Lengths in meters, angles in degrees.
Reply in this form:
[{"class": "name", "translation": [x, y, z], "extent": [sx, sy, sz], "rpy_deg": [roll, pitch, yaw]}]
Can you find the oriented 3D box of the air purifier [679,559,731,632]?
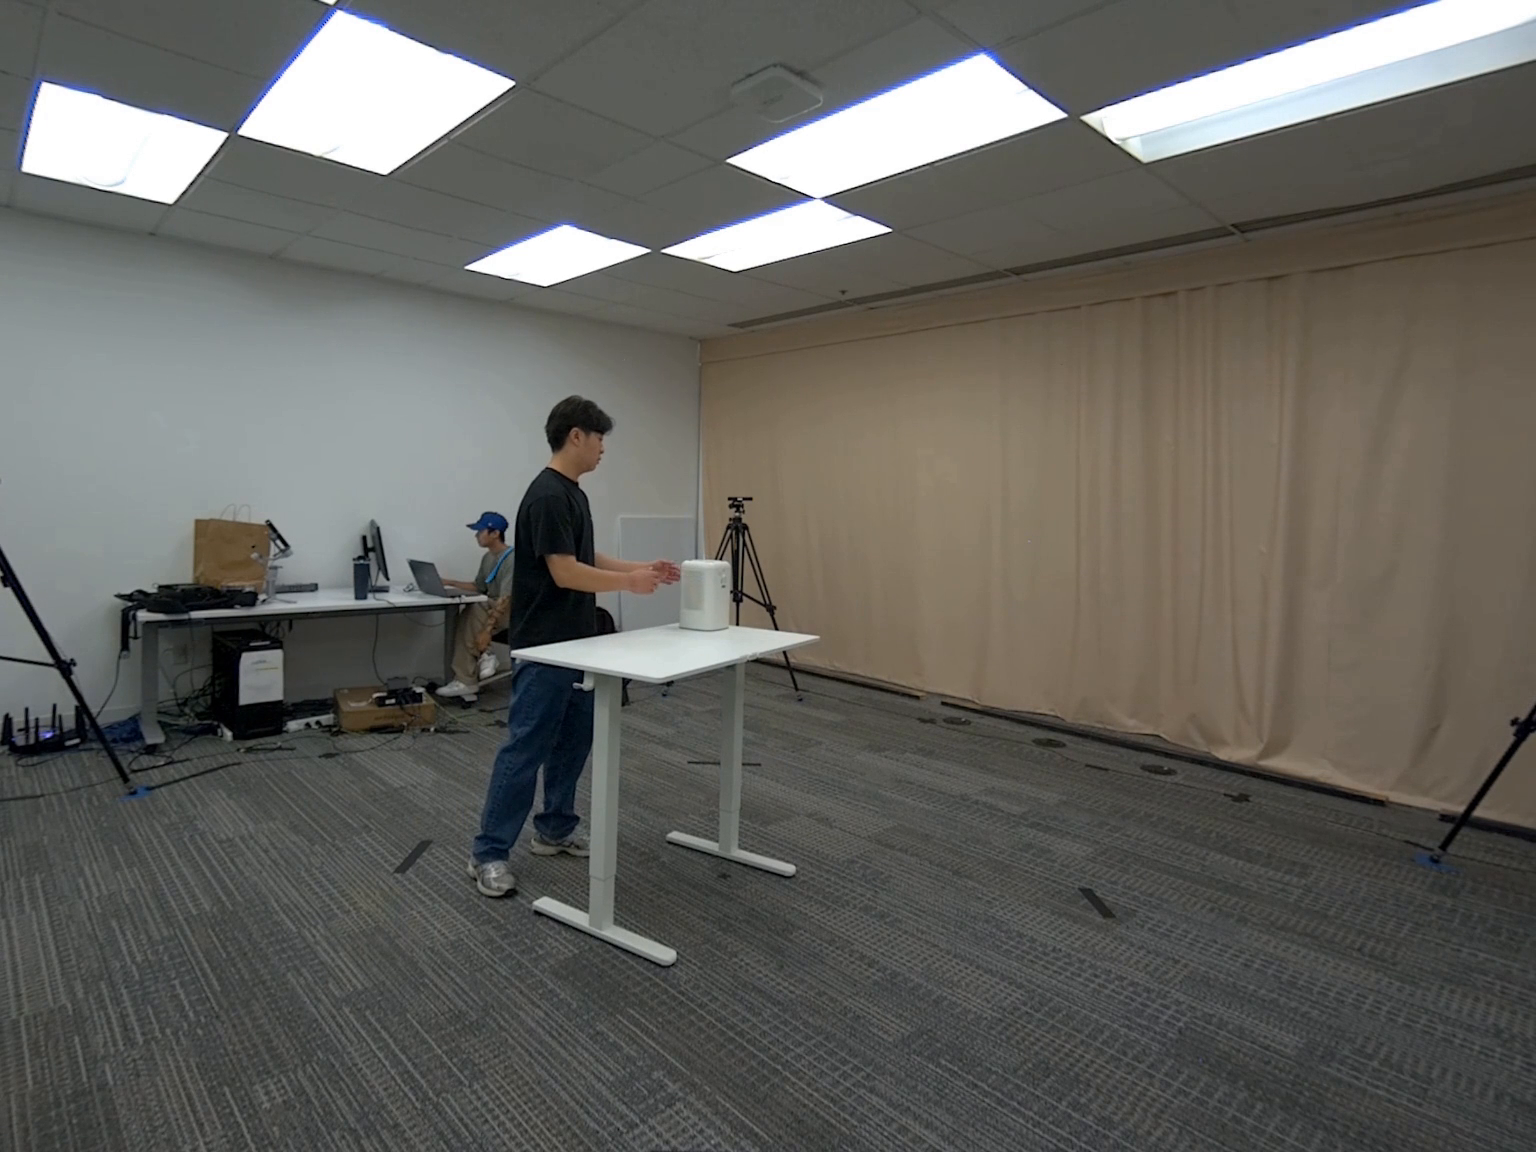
[{"class": "air purifier", "translation": [-0.257, 0.071, 3.312], "extent": [0.175, 0.265, 0.167], "rpy_deg": [3, 4, 32]}]
